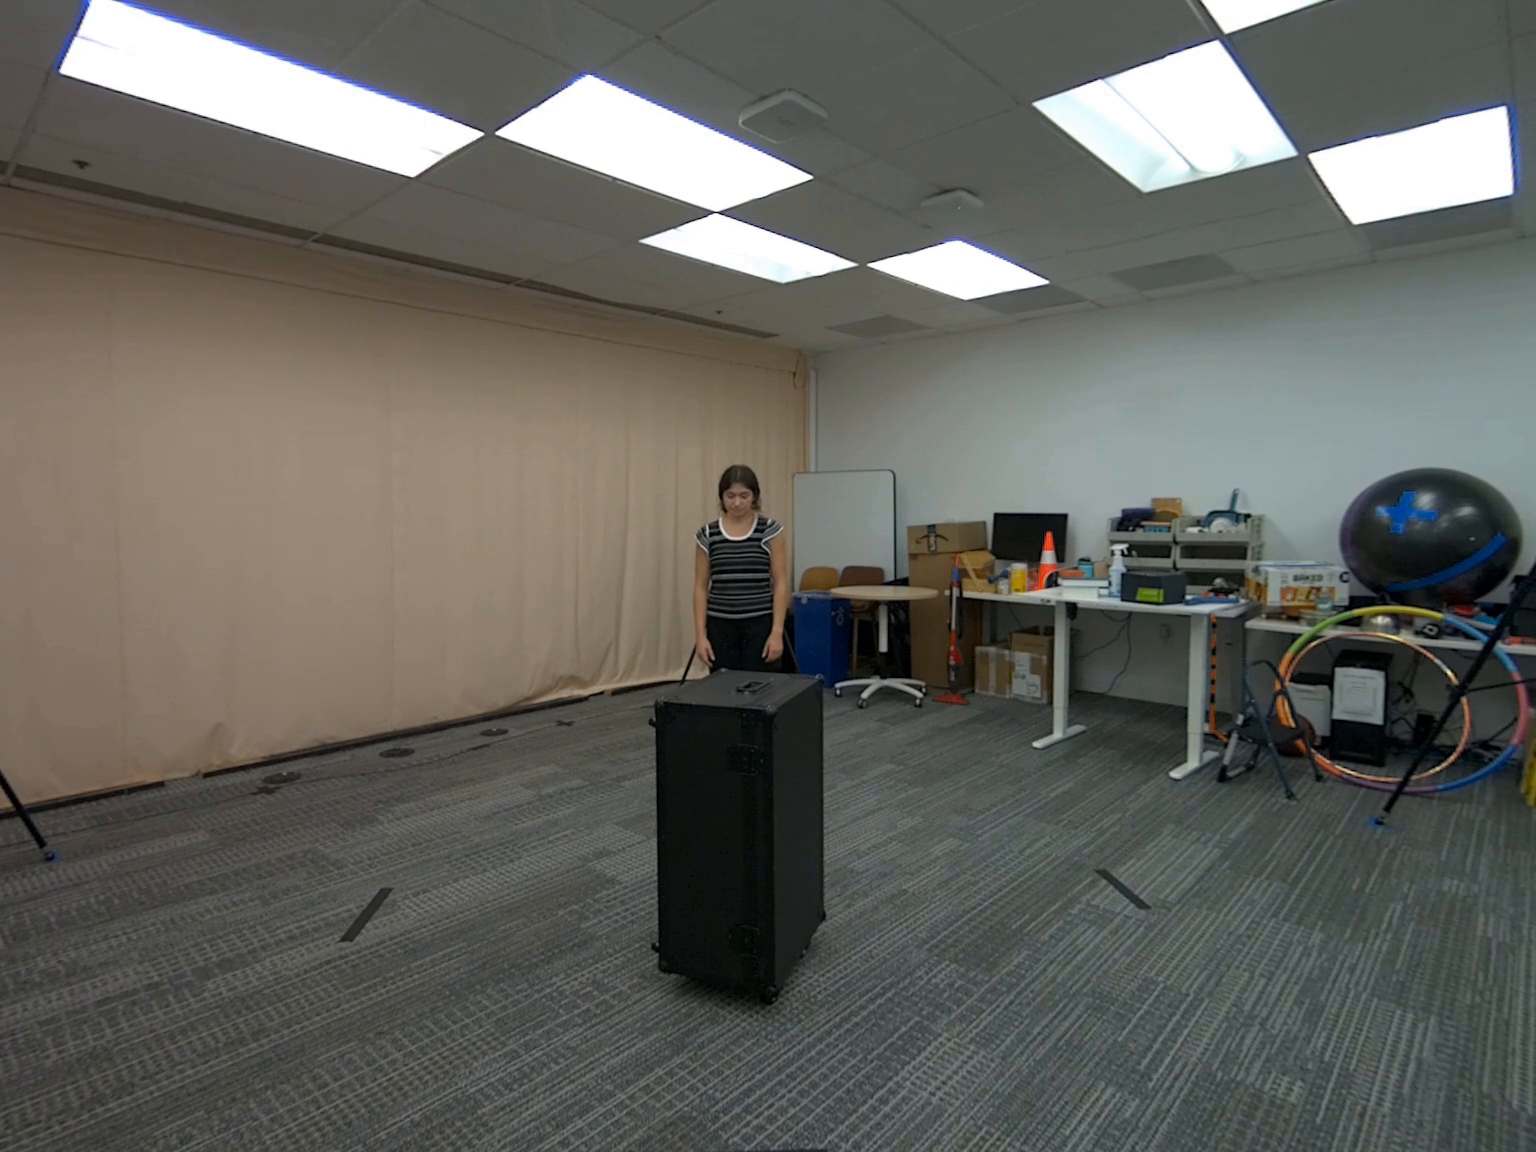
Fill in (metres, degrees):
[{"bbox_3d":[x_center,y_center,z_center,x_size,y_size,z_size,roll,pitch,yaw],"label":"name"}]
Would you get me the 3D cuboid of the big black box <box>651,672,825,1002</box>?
[{"bbox_3d":[-0.074,0.751,2.531,0.405,0.860,0.511,0,3,21],"label":"big black box"}]
